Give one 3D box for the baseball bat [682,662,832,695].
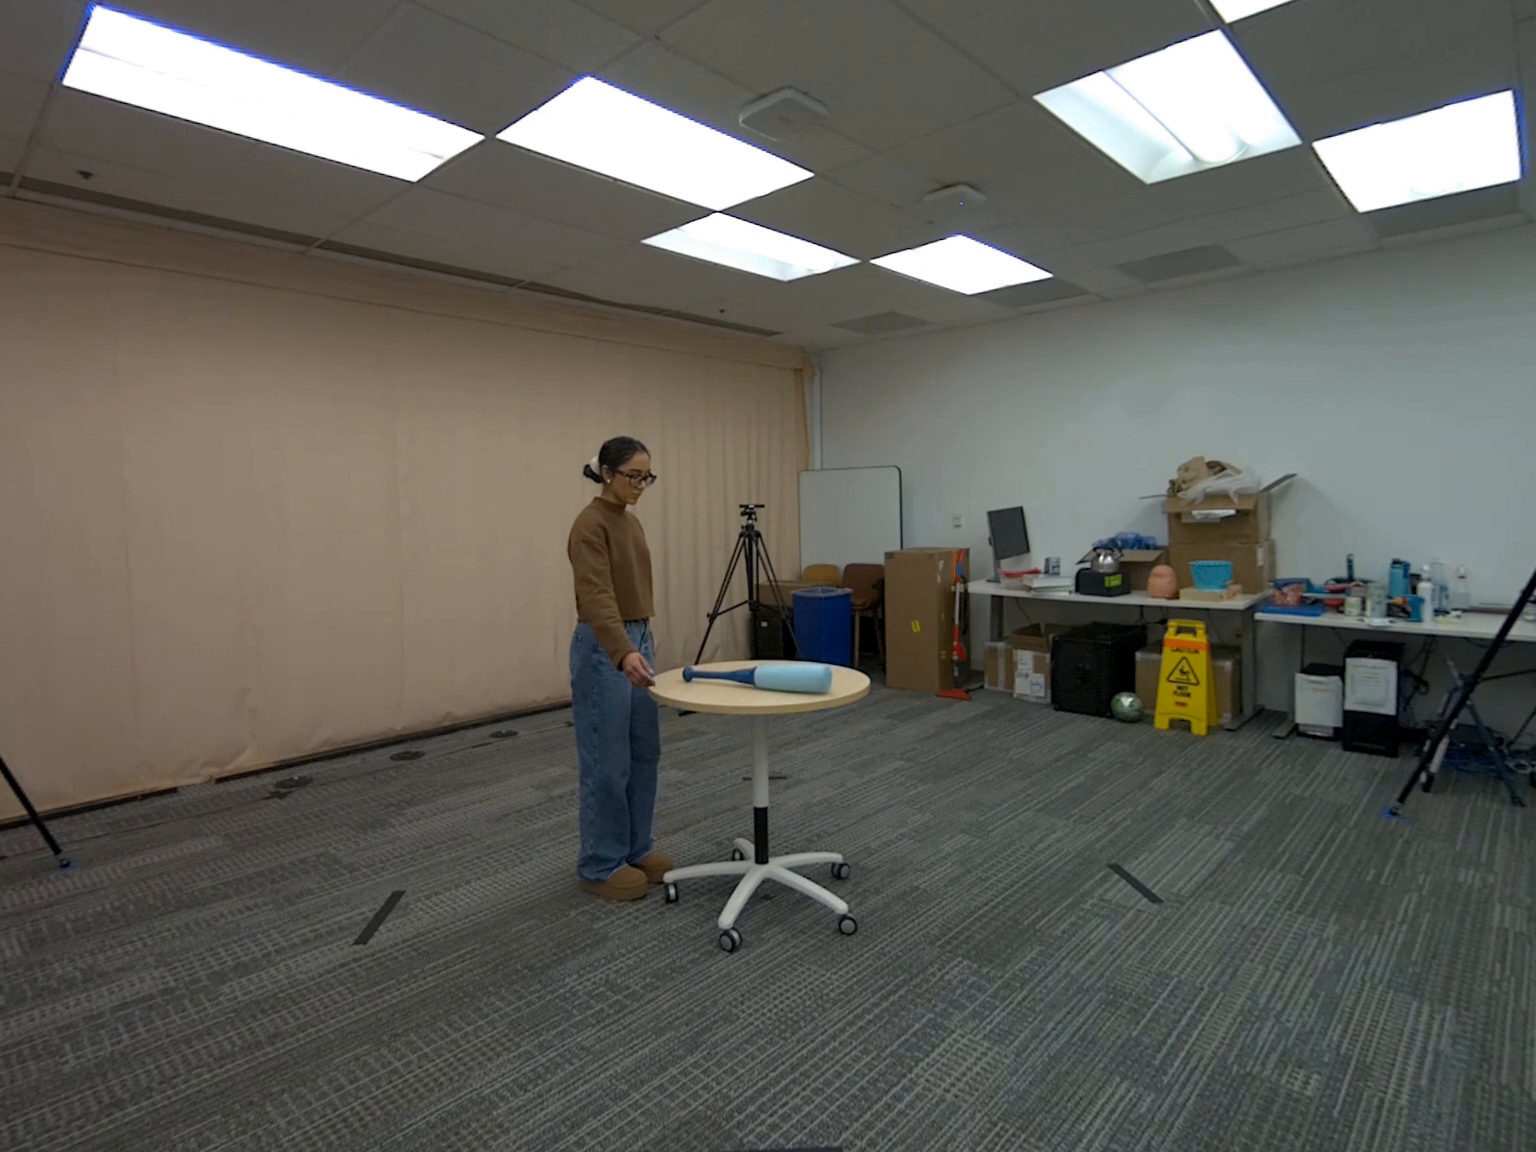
[{"bbox_3d":[-0.051,0.339,2.796,0.557,0.089,0.087,-2,3,28],"label":"baseball bat"}]
